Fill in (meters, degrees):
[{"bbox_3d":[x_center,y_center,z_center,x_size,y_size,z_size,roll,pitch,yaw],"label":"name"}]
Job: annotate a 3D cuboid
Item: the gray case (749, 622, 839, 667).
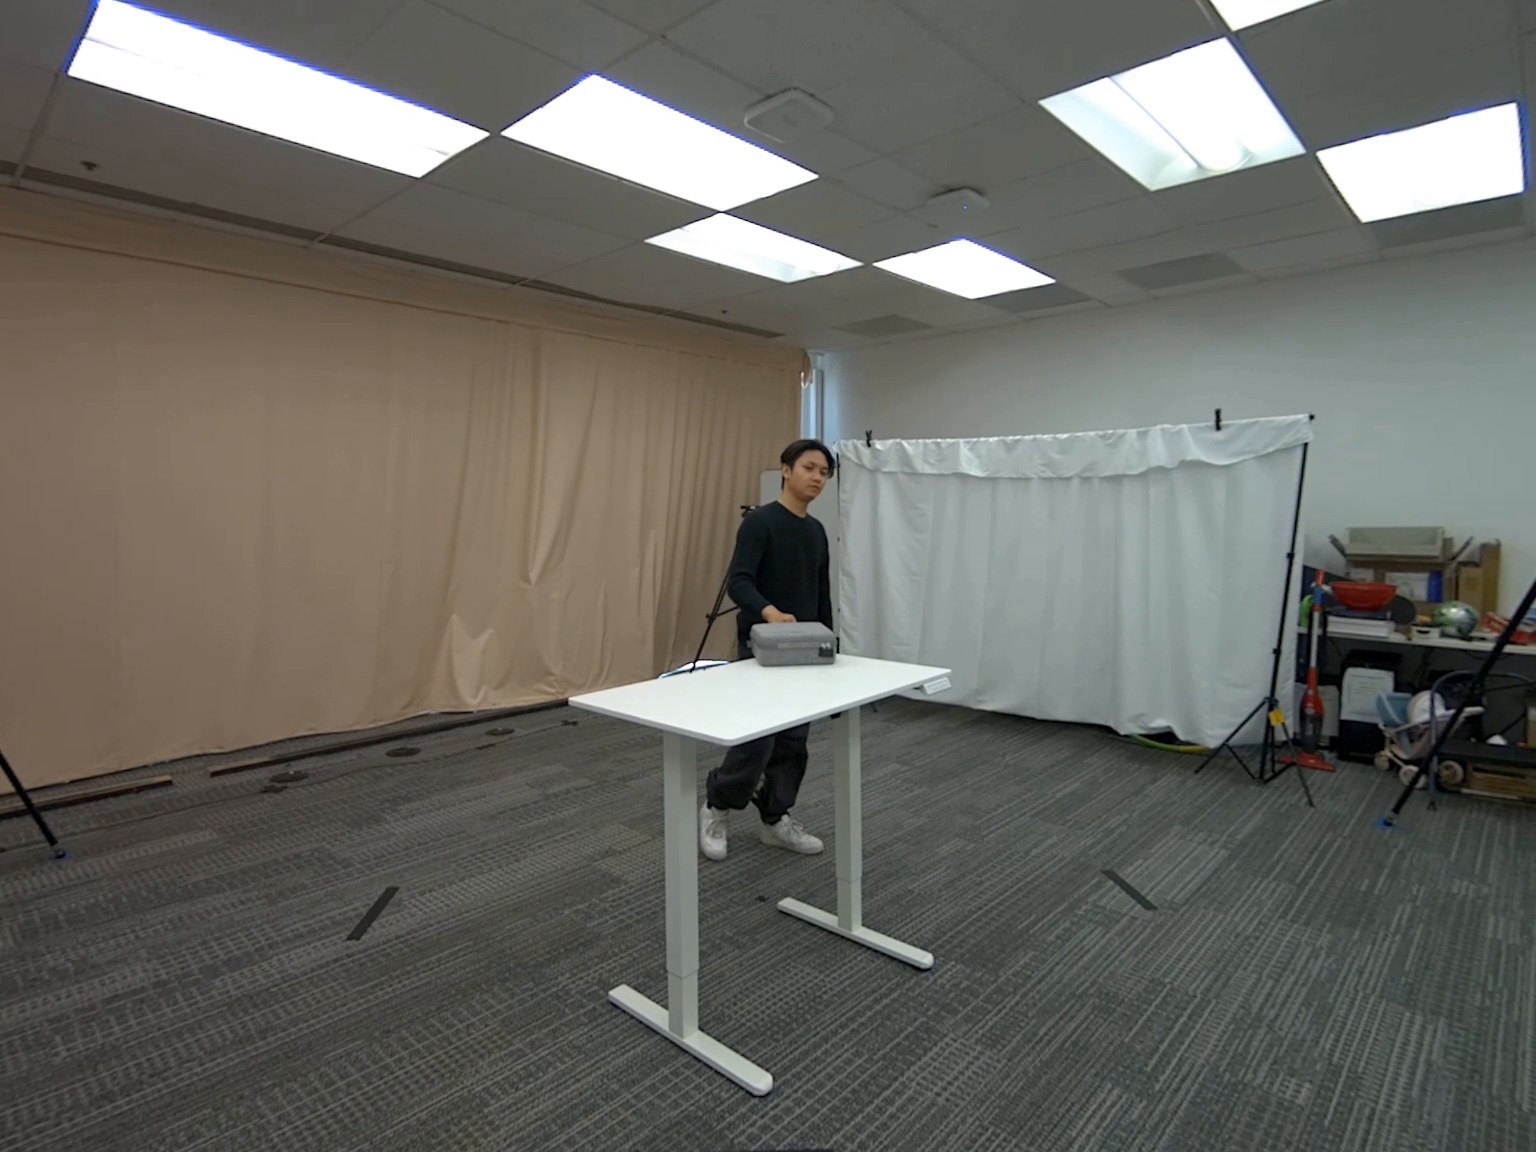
[{"bbox_3d":[0.073,0.219,2.779,0.256,0.104,0.262,-2,6,-4],"label":"gray case"}]
